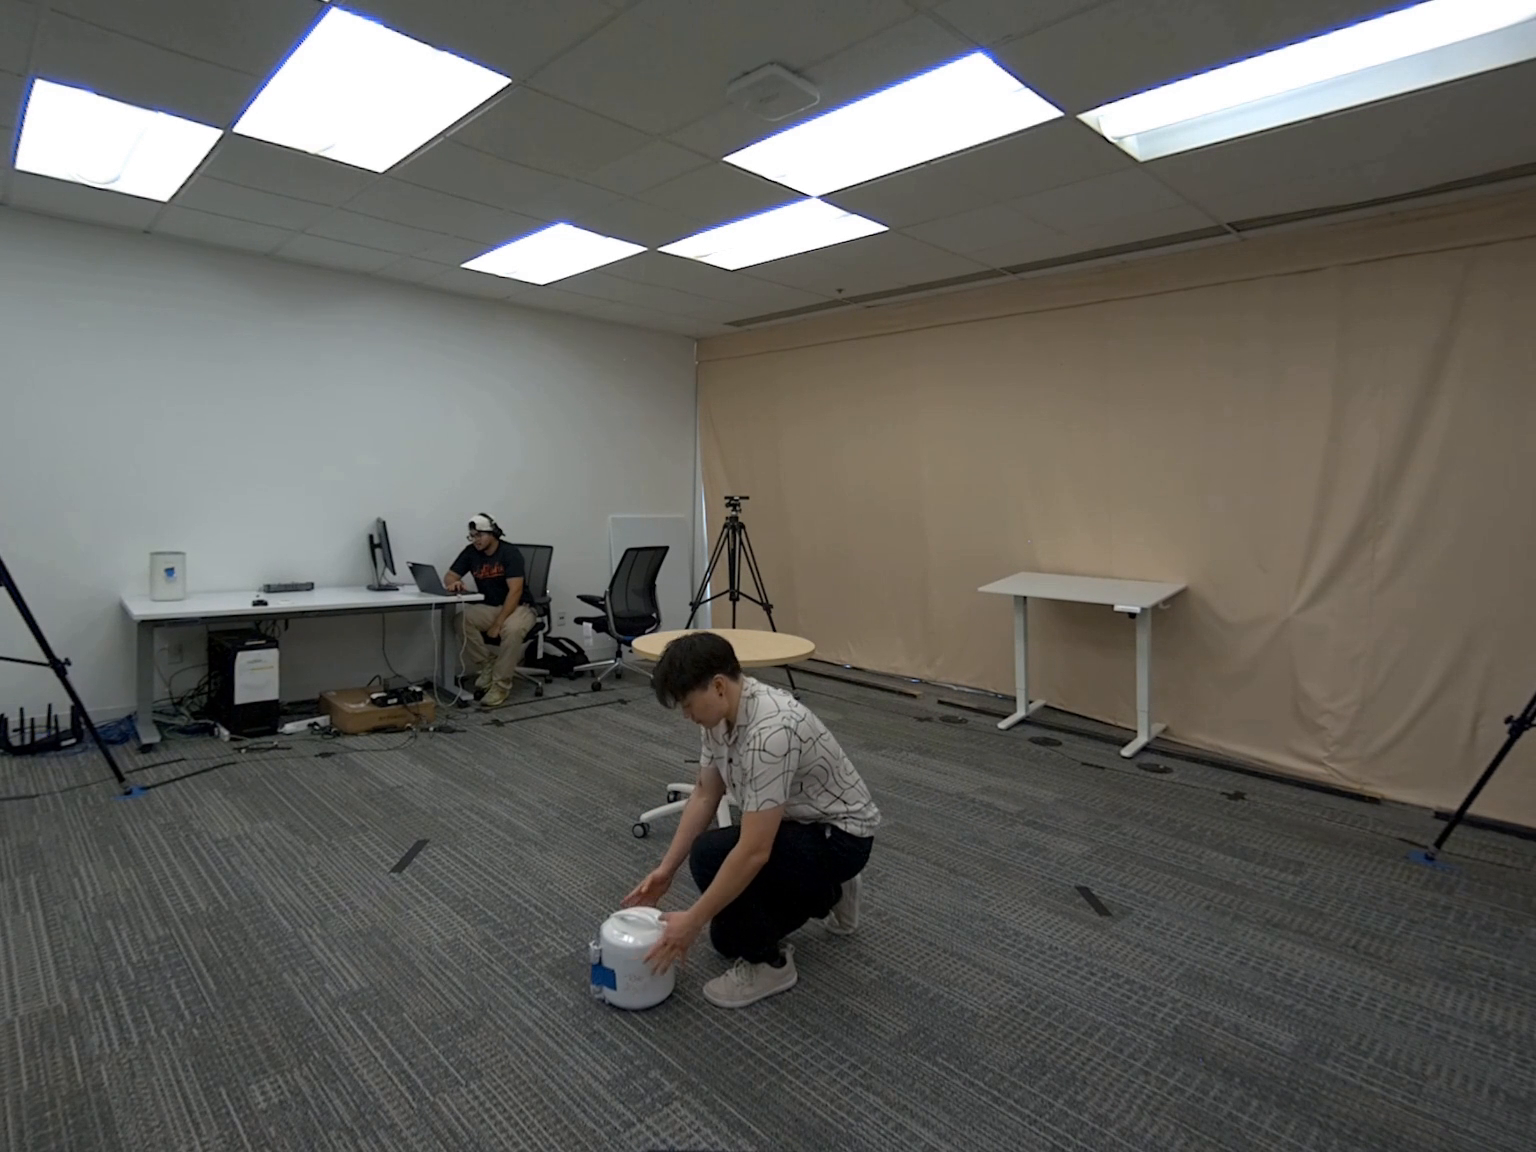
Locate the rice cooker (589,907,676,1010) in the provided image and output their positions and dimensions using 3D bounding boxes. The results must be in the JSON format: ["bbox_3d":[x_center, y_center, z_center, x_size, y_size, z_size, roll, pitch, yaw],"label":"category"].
[{"bbox_3d":[-0.364,1.050,2.351,0.225,0.232,0.214,3,6,24],"label":"rice cooker"}]
